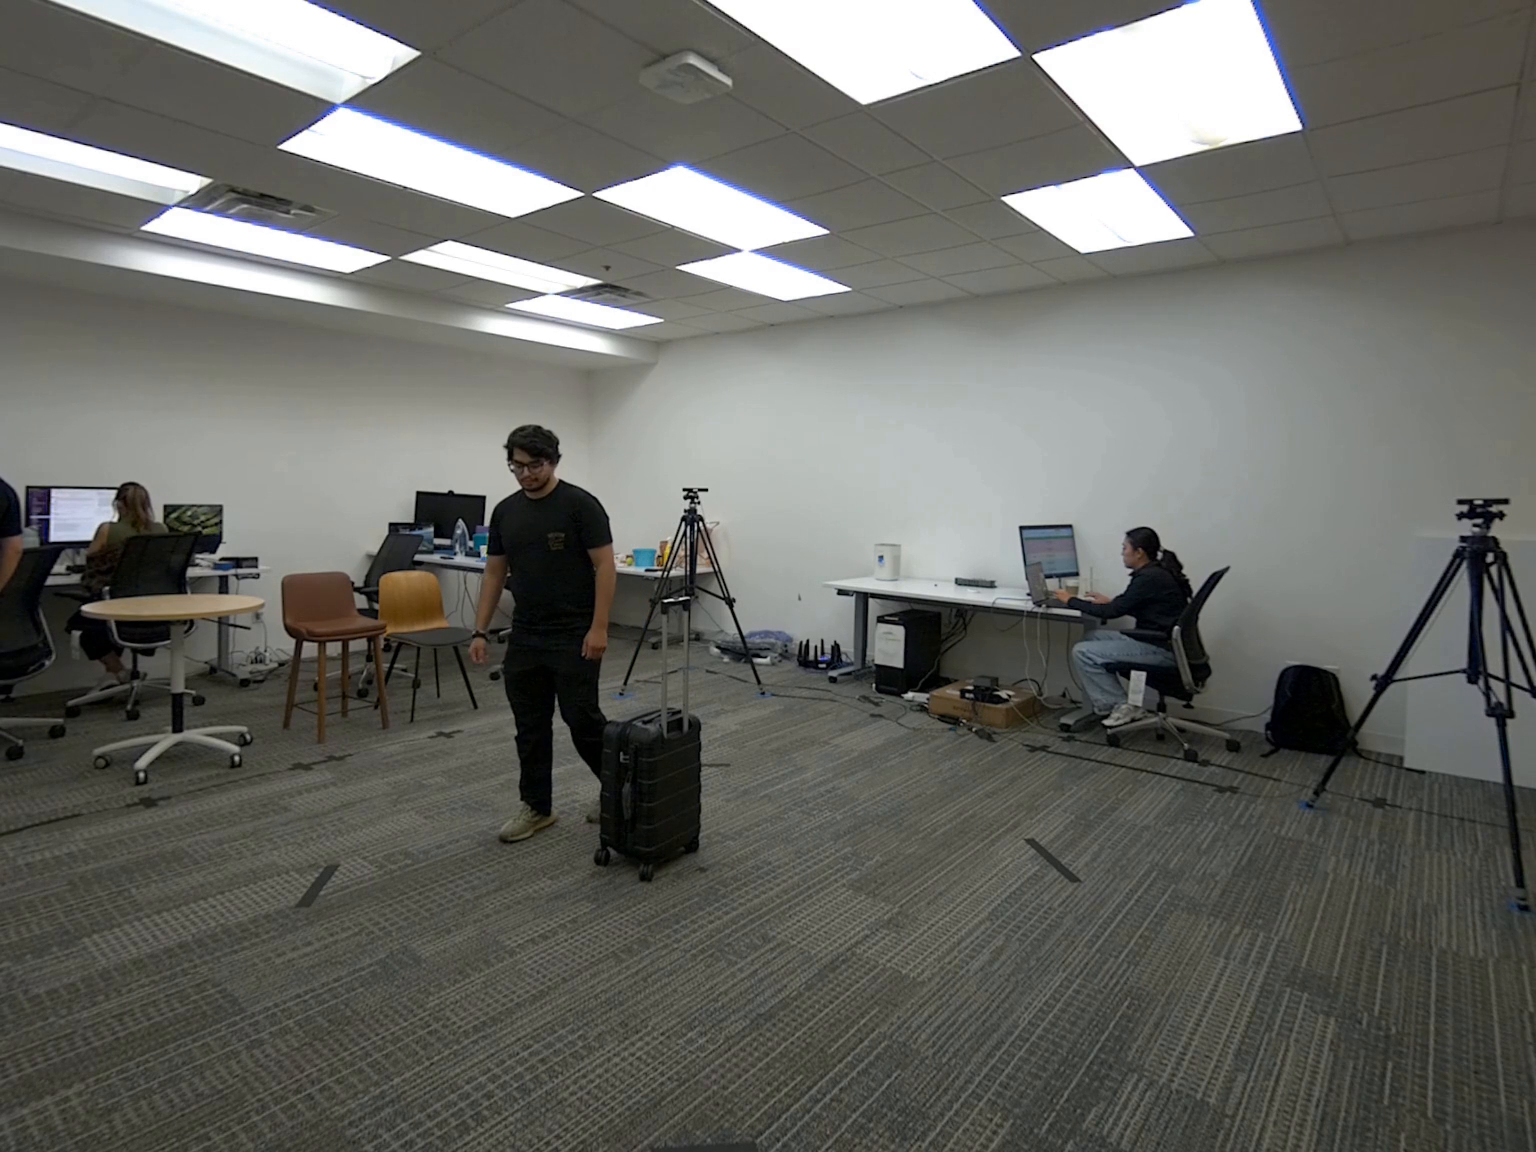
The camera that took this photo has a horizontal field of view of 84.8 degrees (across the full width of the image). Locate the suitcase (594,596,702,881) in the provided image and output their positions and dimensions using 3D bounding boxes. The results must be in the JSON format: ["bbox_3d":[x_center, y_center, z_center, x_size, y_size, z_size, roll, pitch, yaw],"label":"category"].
[{"bbox_3d":[-0.448,0.579,3.194,0.264,0.978,0.373,0,1,31],"label":"suitcase"}]
